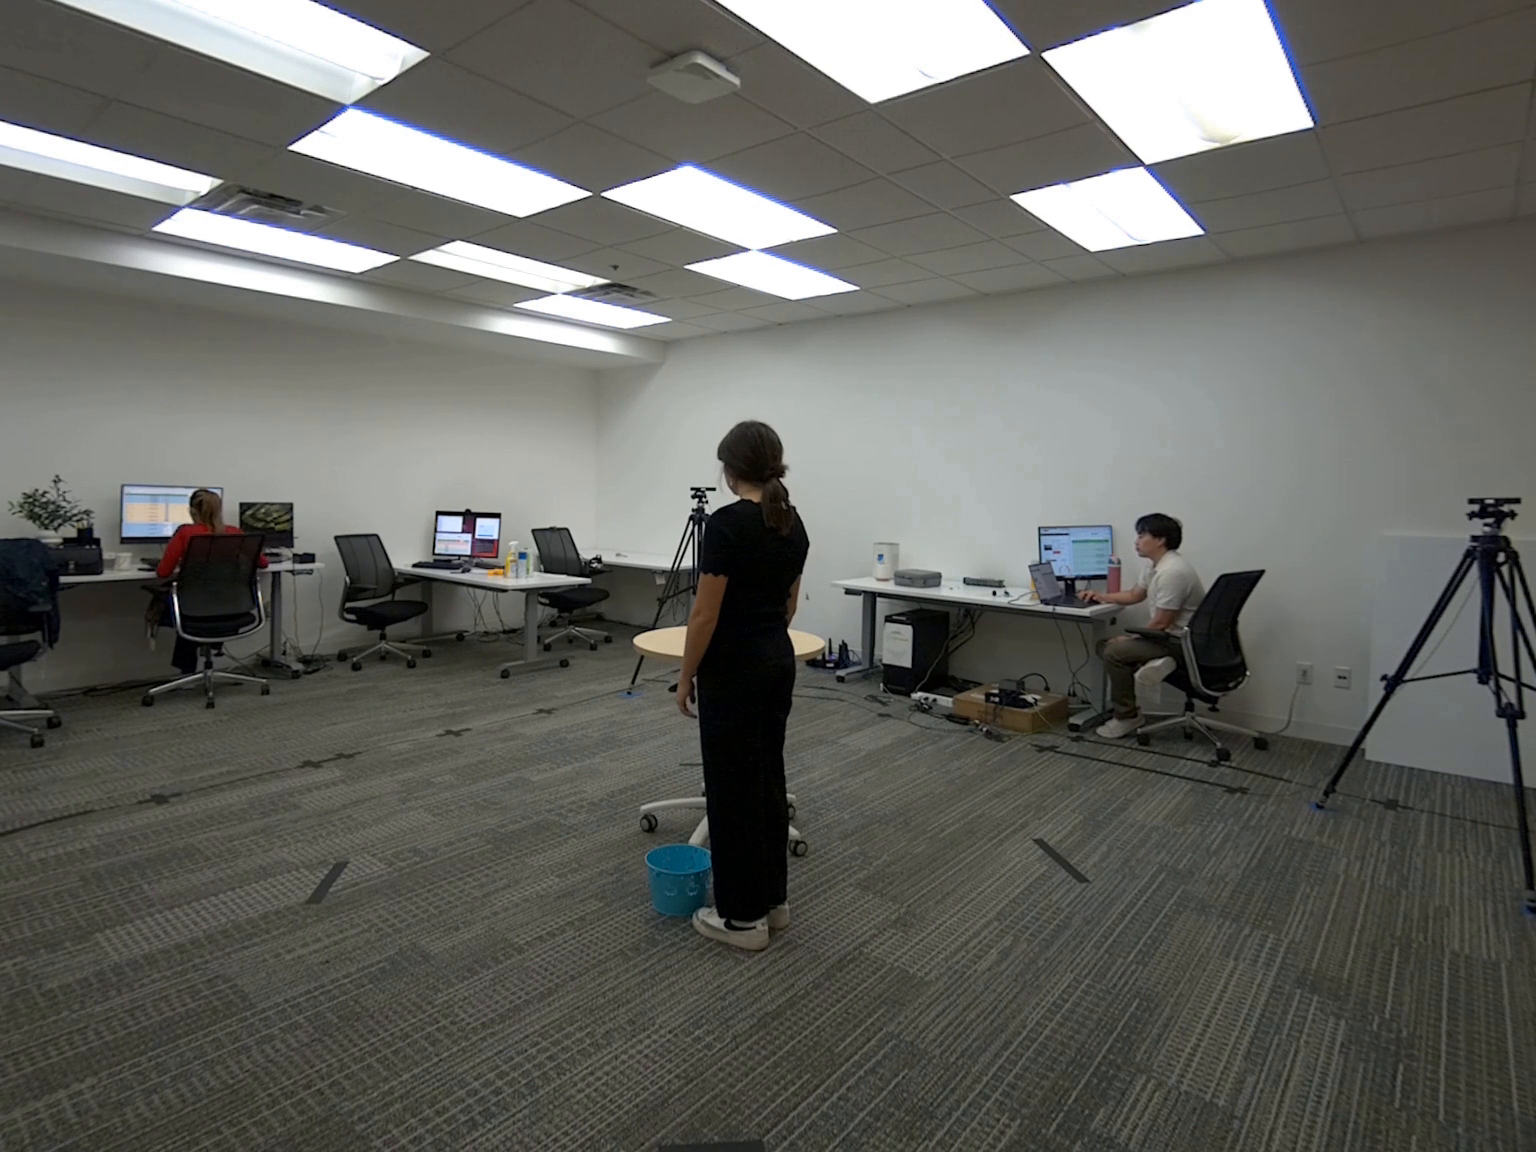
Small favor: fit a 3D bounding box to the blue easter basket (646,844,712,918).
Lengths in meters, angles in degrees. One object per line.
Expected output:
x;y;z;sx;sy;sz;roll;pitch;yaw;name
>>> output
-0.307;1.010;2.843;0.243;0.155;0.245;1;5;-2;blue easter basket
